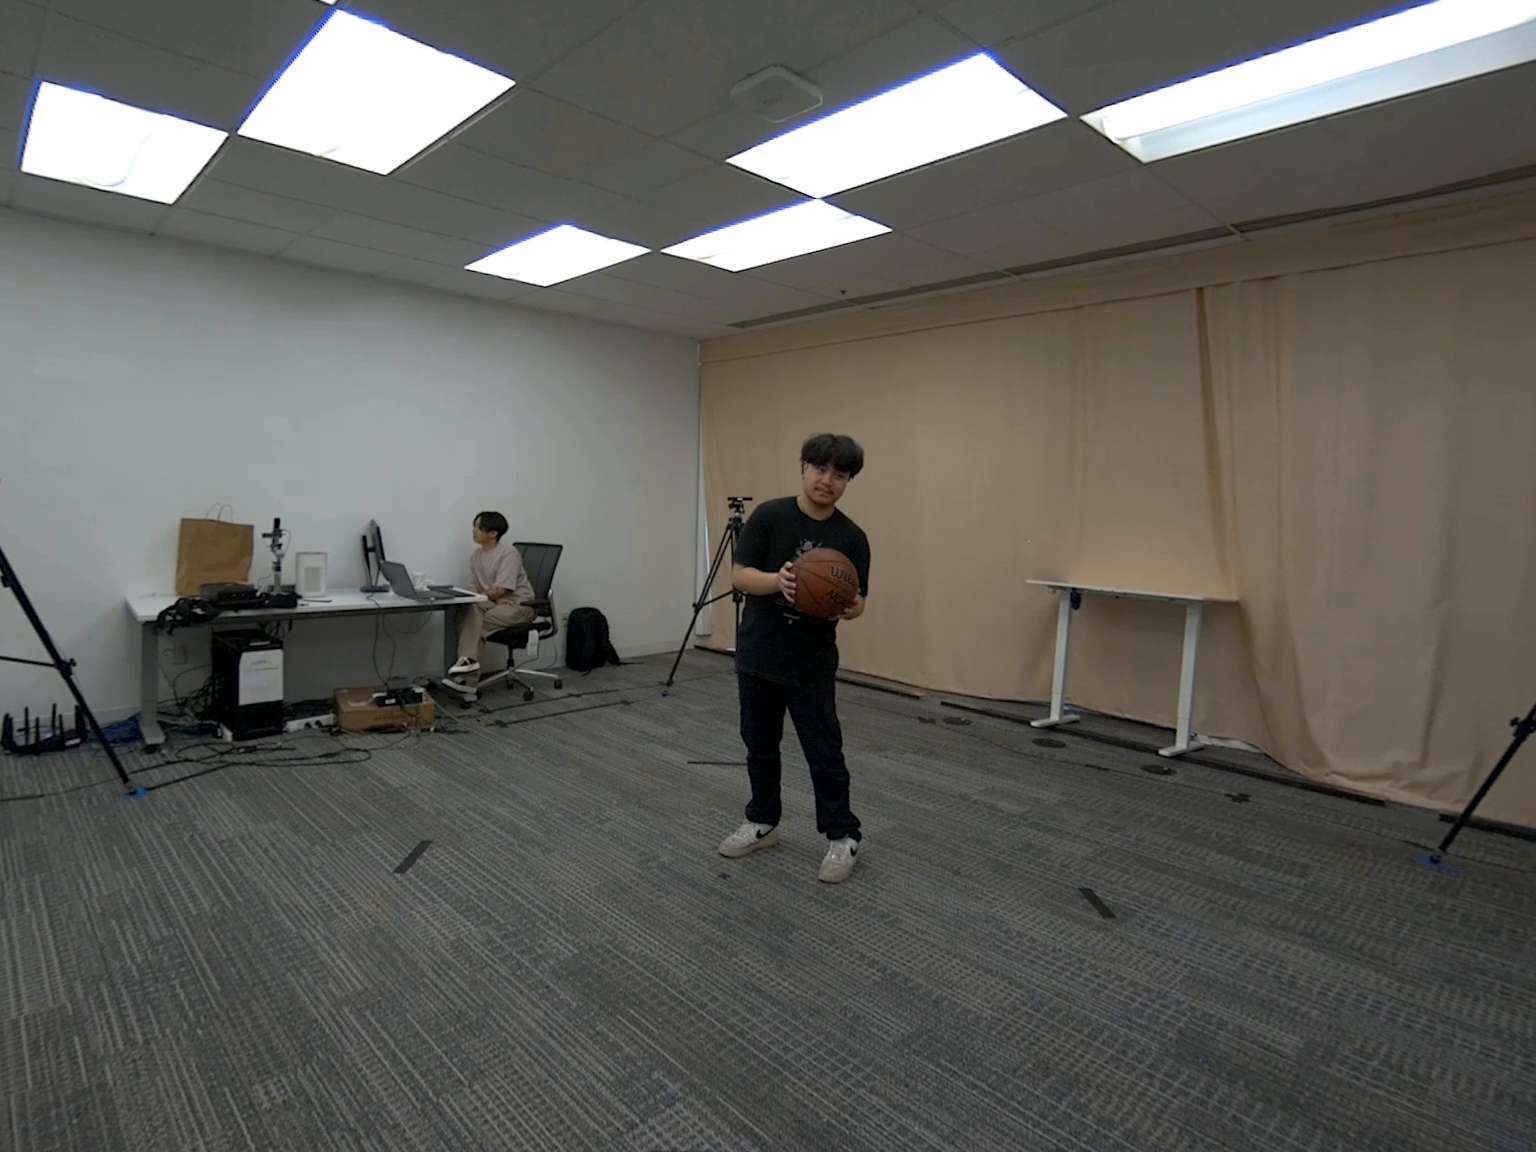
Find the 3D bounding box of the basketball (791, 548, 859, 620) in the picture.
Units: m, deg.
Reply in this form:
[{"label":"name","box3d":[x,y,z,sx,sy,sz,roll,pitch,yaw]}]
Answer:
[{"label":"basketball","box3d":[0.179,0.019,2.868,0.236,0.235,0.237,1,4,-1]}]
